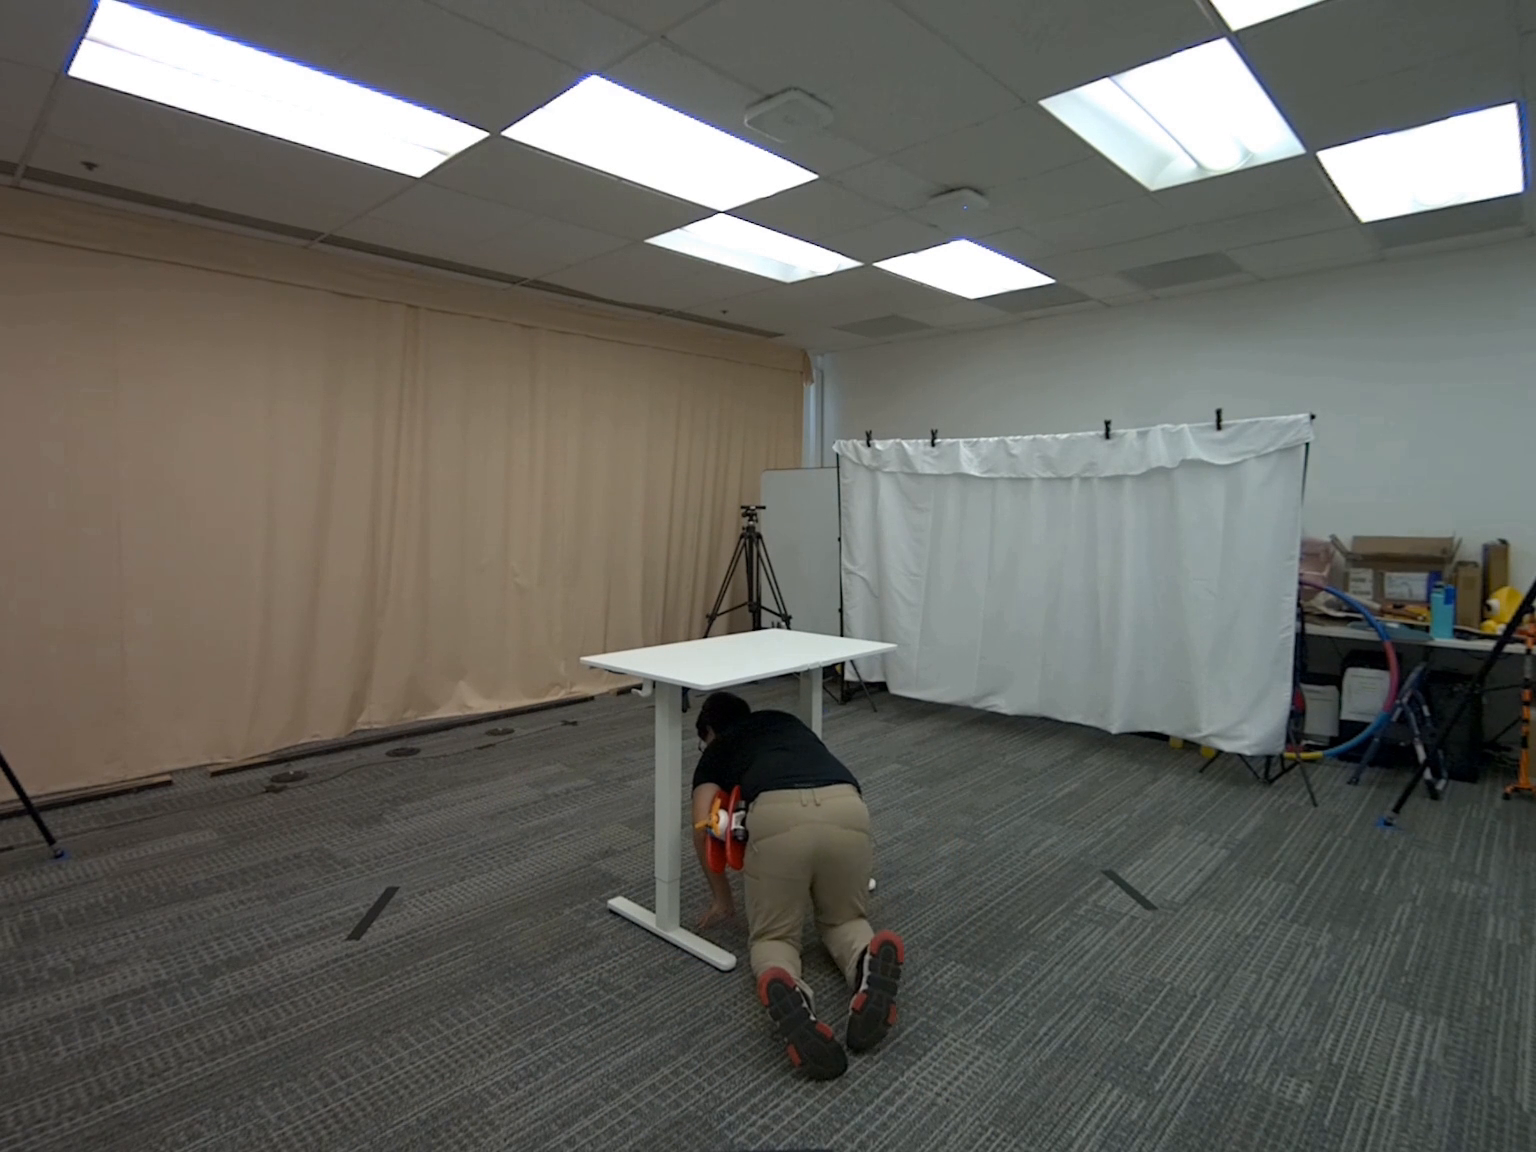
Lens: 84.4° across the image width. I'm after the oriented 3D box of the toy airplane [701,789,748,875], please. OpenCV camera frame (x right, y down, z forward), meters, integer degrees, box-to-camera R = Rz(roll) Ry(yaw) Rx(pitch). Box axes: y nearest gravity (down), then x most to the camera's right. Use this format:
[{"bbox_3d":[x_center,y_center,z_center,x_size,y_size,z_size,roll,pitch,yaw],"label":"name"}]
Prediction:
[{"bbox_3d":[-0.092,0.809,2.636,0.160,0.254,0.250,-13,21,25],"label":"toy airplane"}]
